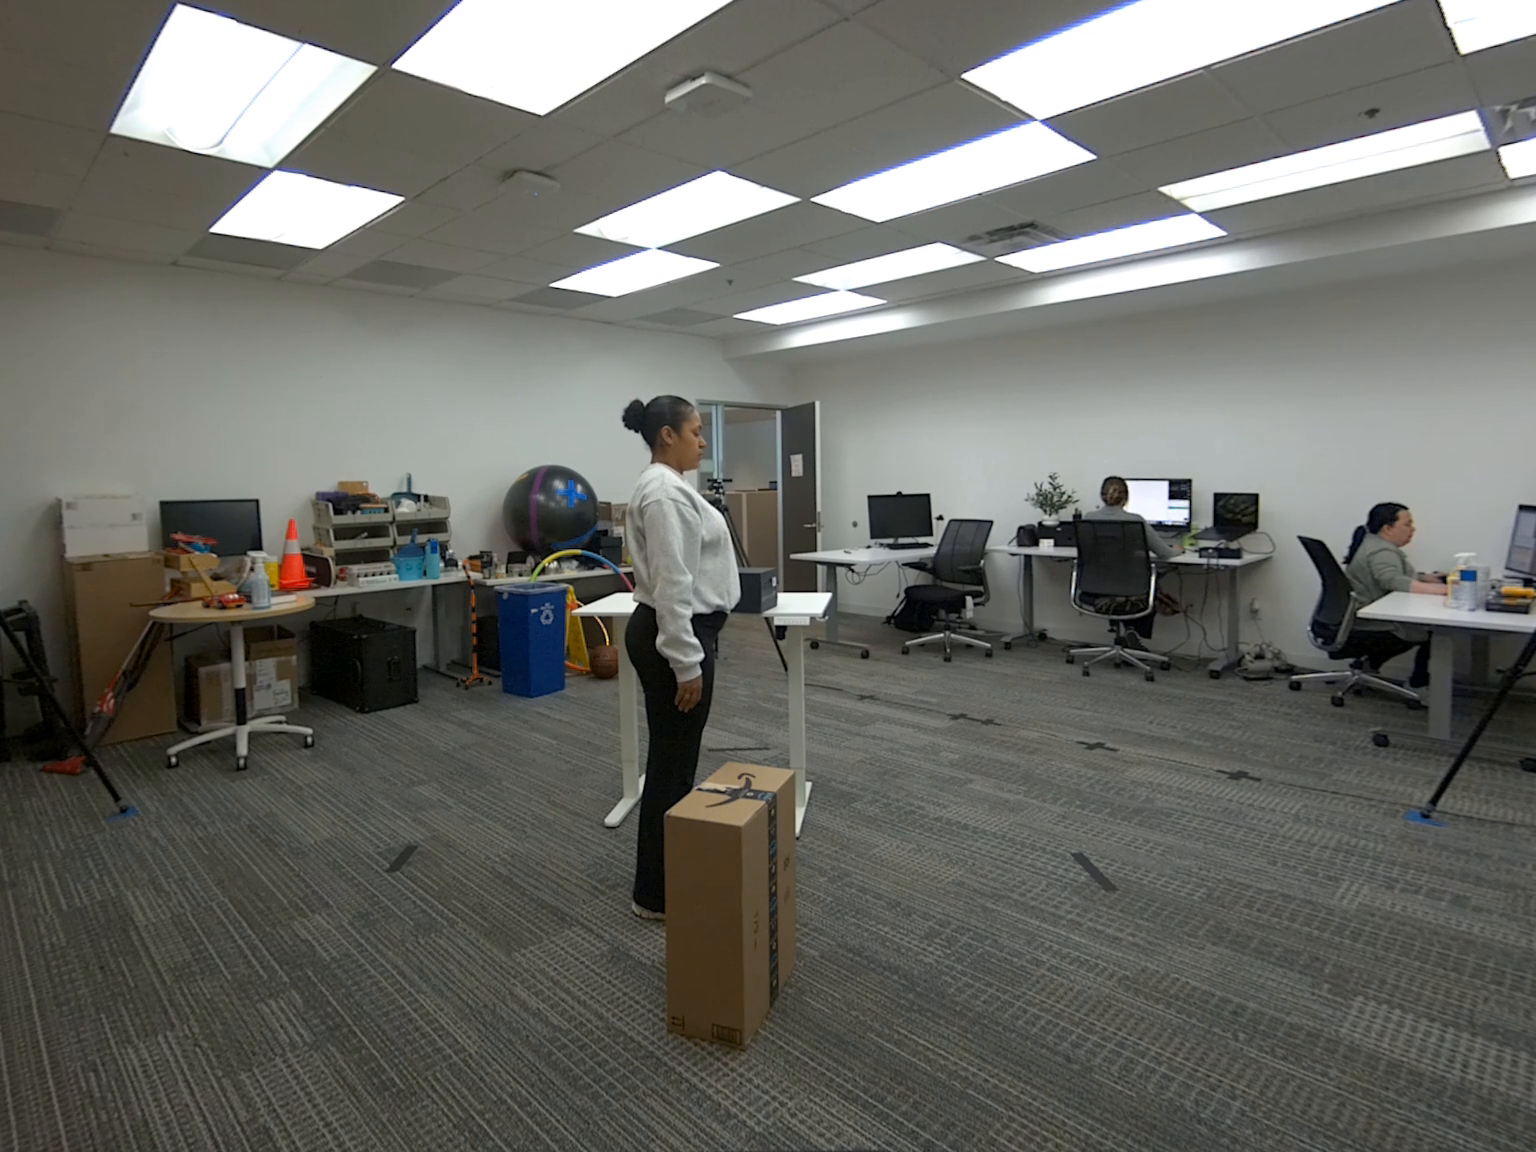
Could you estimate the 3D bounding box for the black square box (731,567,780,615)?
[{"bbox_3d":[-0.099,0.052,3.366,0.232,0.155,0.214,0,5,19],"label":"black square box"}]
